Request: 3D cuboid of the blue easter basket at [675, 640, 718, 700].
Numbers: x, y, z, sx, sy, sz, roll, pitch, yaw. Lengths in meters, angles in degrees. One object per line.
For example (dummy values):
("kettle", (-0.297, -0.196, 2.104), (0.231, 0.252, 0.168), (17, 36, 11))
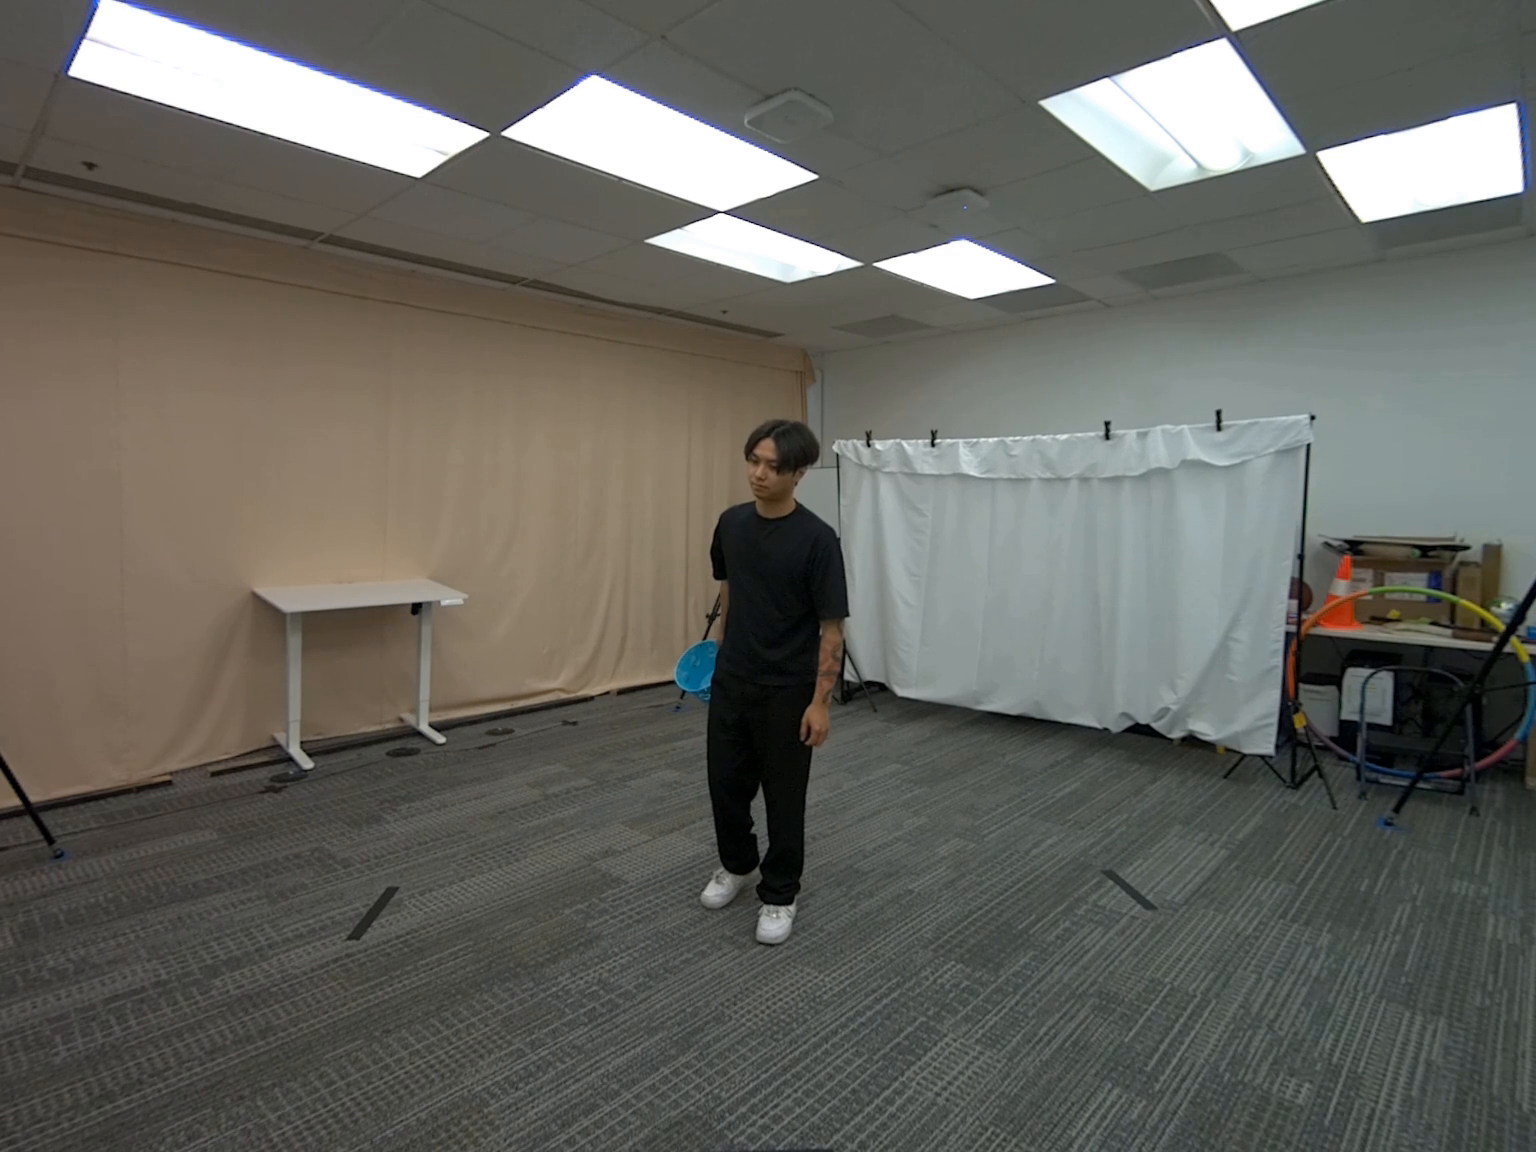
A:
("blue easter basket", (-0.220, 0.384, 3.238), (0.251, 0.244, 0.151), (3, -37, 37))
